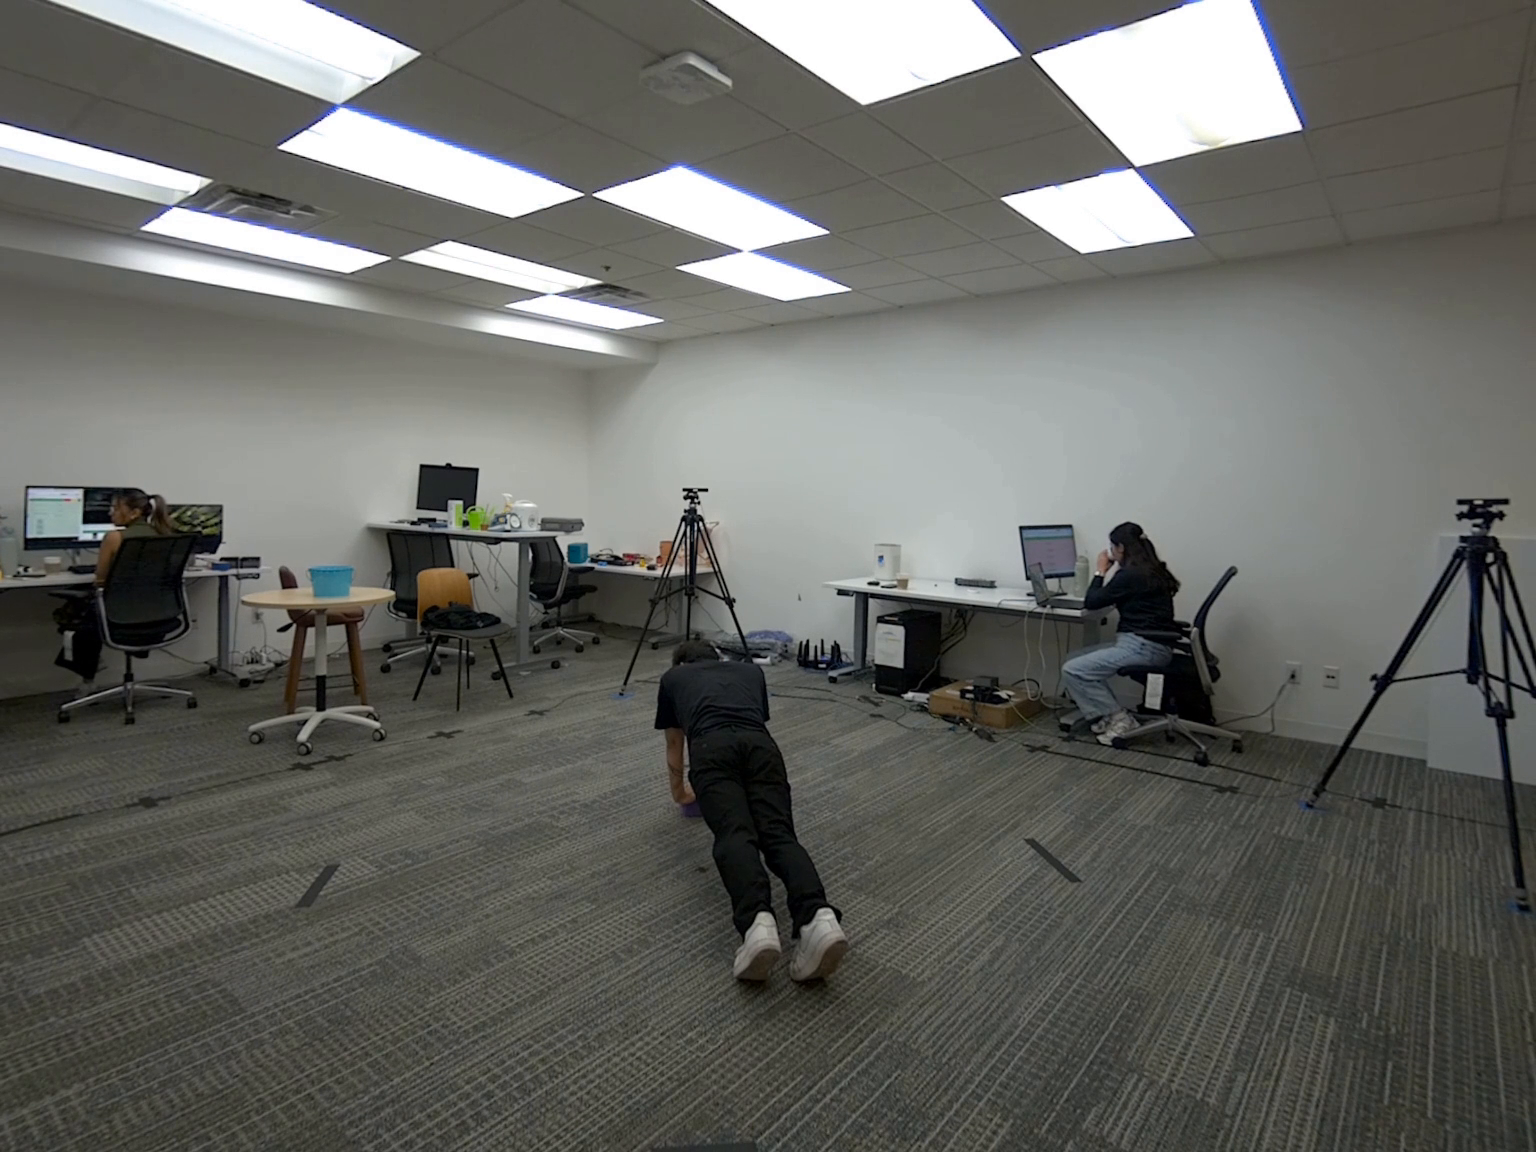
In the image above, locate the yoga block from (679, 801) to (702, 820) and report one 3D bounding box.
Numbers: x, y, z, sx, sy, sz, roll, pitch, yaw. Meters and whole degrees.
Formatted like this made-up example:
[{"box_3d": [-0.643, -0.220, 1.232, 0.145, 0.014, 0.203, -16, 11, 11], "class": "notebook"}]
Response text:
[{"box_3d": [-0.269, 0.969, 3.687, 0.226, 0.076, 0.151, -1, 5, -12], "class": "yoga block"}]
